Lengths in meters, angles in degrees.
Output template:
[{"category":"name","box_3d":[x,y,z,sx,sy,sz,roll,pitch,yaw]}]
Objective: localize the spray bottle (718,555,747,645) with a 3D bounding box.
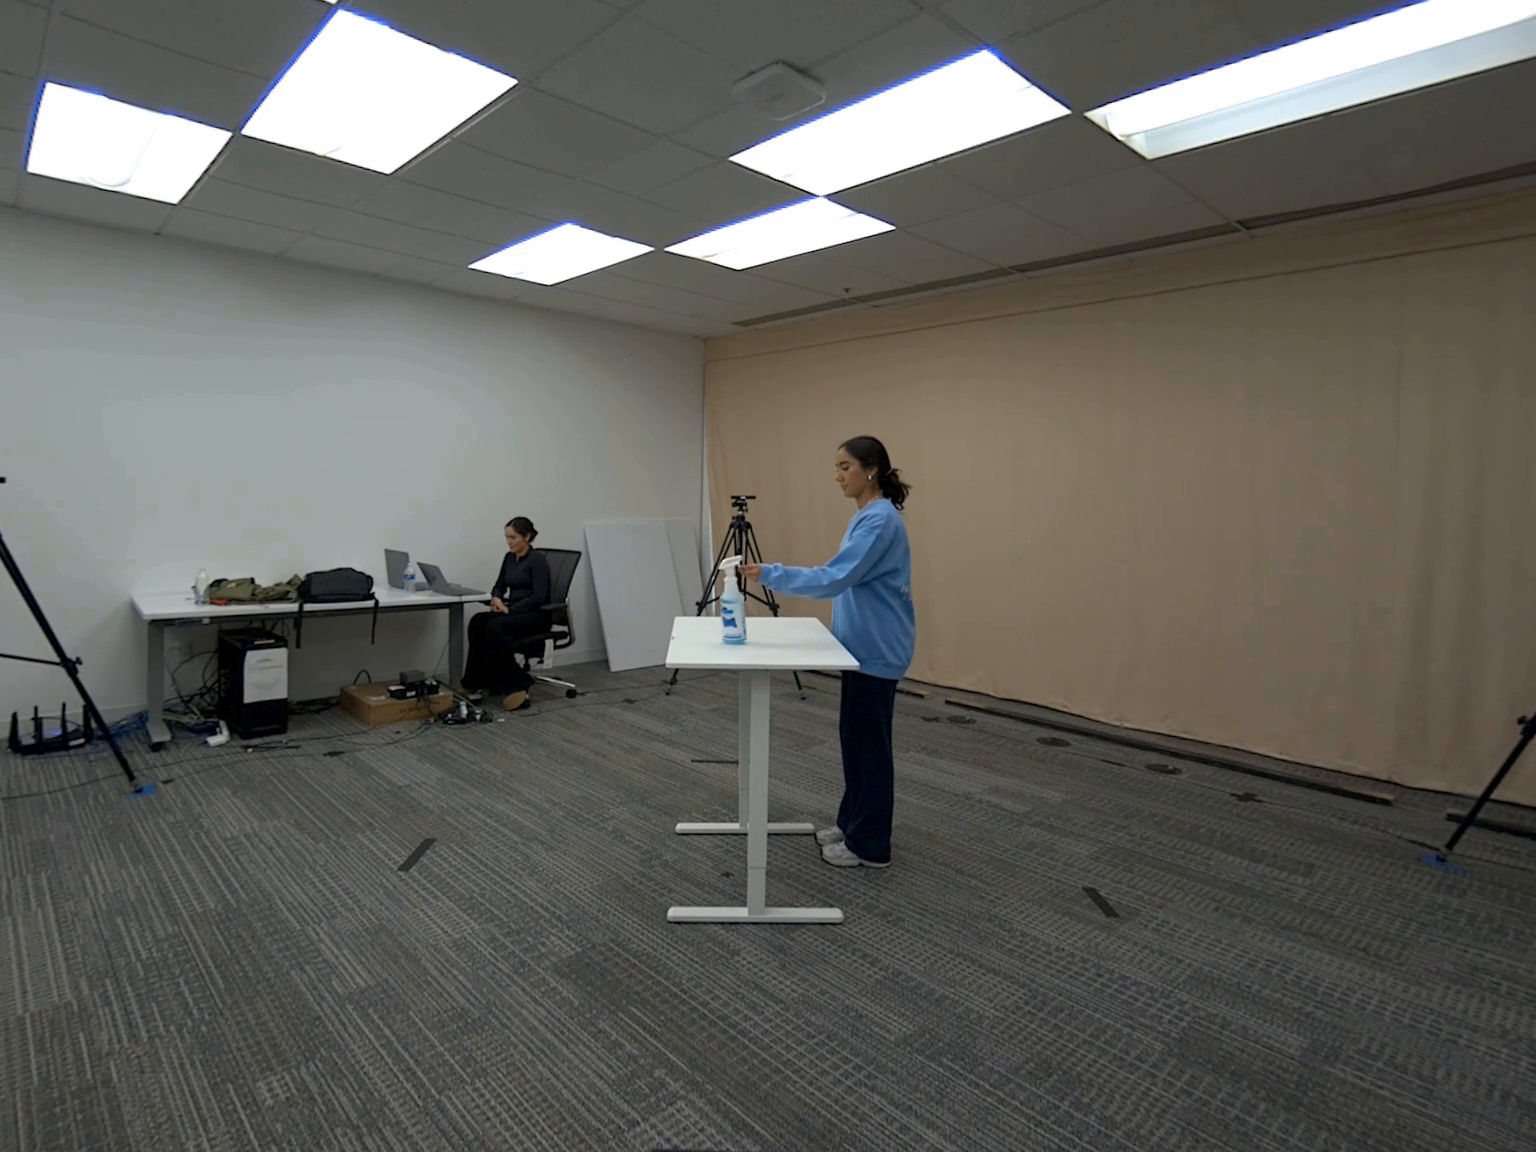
[{"category":"spray bottle","box_3d":[-0.120,0.083,2.929,0.090,0.295,0.088,-2,9,-3]}]
